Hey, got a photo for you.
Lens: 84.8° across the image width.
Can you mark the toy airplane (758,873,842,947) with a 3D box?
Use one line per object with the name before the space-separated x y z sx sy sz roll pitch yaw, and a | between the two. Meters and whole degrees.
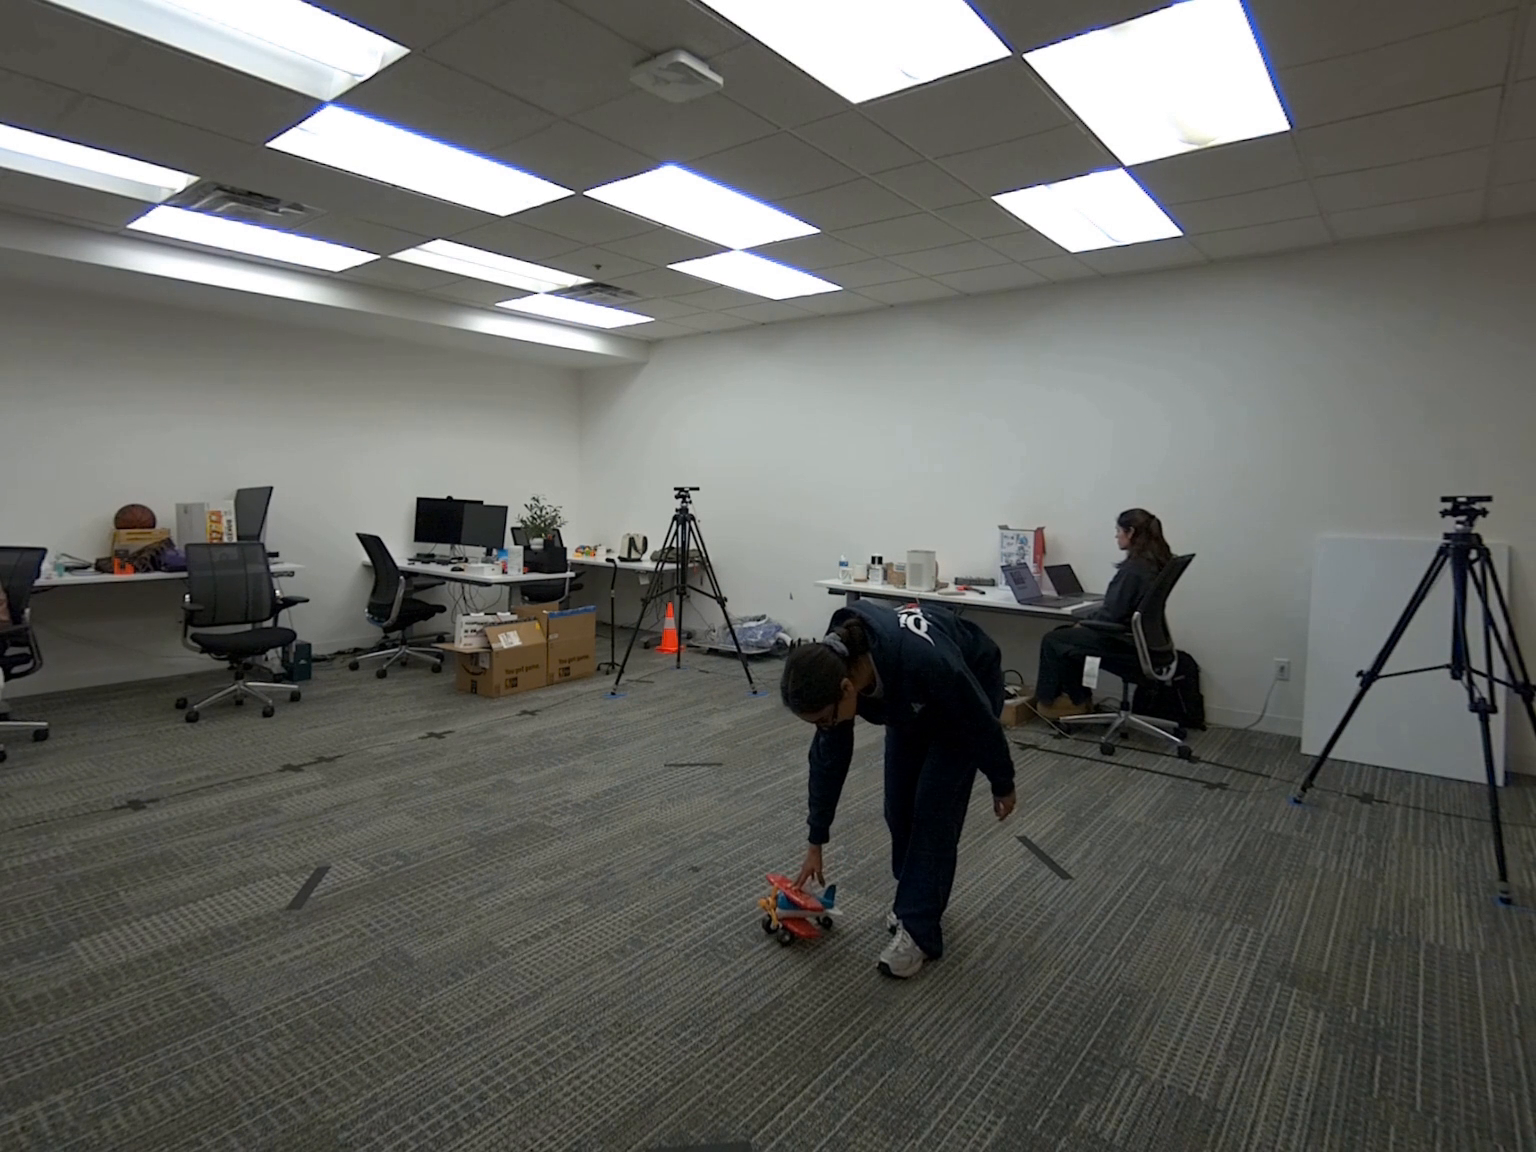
toy airplane | 0.084 1.039 2.687 0.259 0.156 0.252 4 6 31
